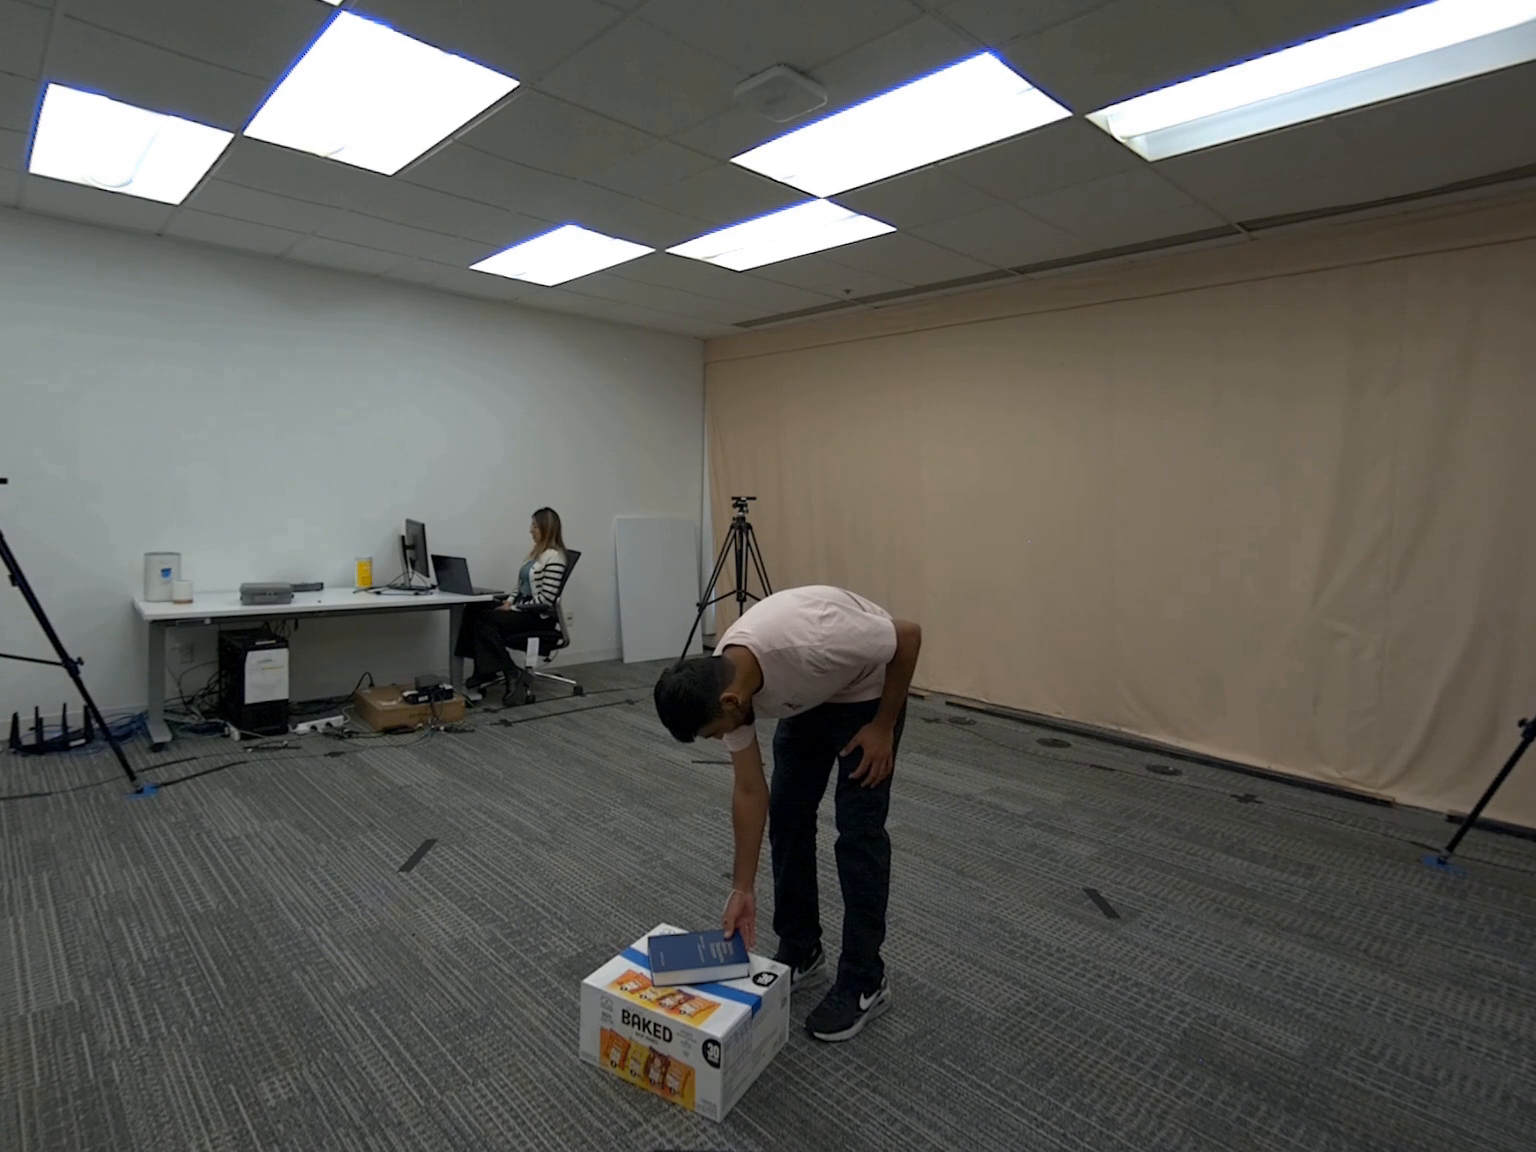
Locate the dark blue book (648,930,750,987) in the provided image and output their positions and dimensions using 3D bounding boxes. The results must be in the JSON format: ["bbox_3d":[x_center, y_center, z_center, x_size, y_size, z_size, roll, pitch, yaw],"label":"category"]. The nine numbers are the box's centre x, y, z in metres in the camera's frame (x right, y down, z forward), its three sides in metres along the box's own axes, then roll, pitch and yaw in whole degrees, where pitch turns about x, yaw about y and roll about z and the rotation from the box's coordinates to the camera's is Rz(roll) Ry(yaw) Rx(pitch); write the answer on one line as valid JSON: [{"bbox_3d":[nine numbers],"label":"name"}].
[{"bbox_3d":[-0.188,0.976,2.149,0.243,0.045,0.166,-1,8,-11],"label":"dark blue book"}]
